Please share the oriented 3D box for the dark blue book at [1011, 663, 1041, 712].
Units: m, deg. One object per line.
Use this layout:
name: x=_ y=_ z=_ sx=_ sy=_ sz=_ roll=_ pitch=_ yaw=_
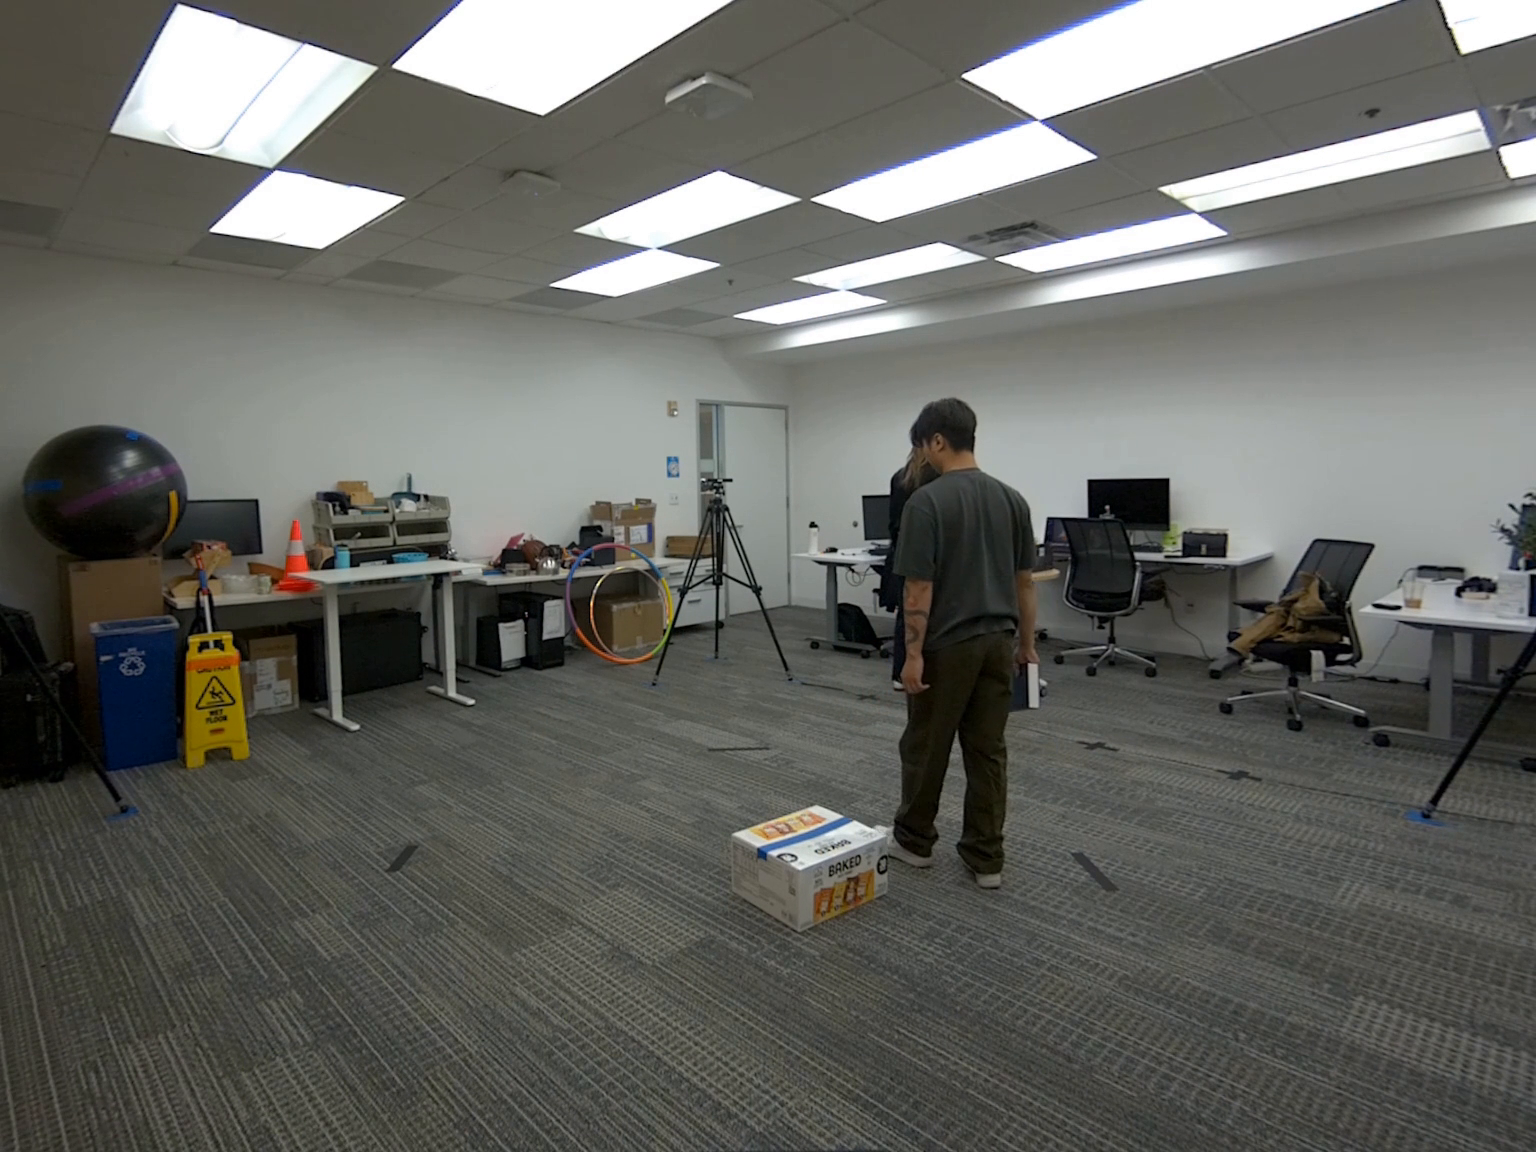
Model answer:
dark blue book: x=0.925 y=0.404 z=3.134 sx=0.045 sy=0.165 sz=0.242 roll=4 pitch=-12 yaw=0
